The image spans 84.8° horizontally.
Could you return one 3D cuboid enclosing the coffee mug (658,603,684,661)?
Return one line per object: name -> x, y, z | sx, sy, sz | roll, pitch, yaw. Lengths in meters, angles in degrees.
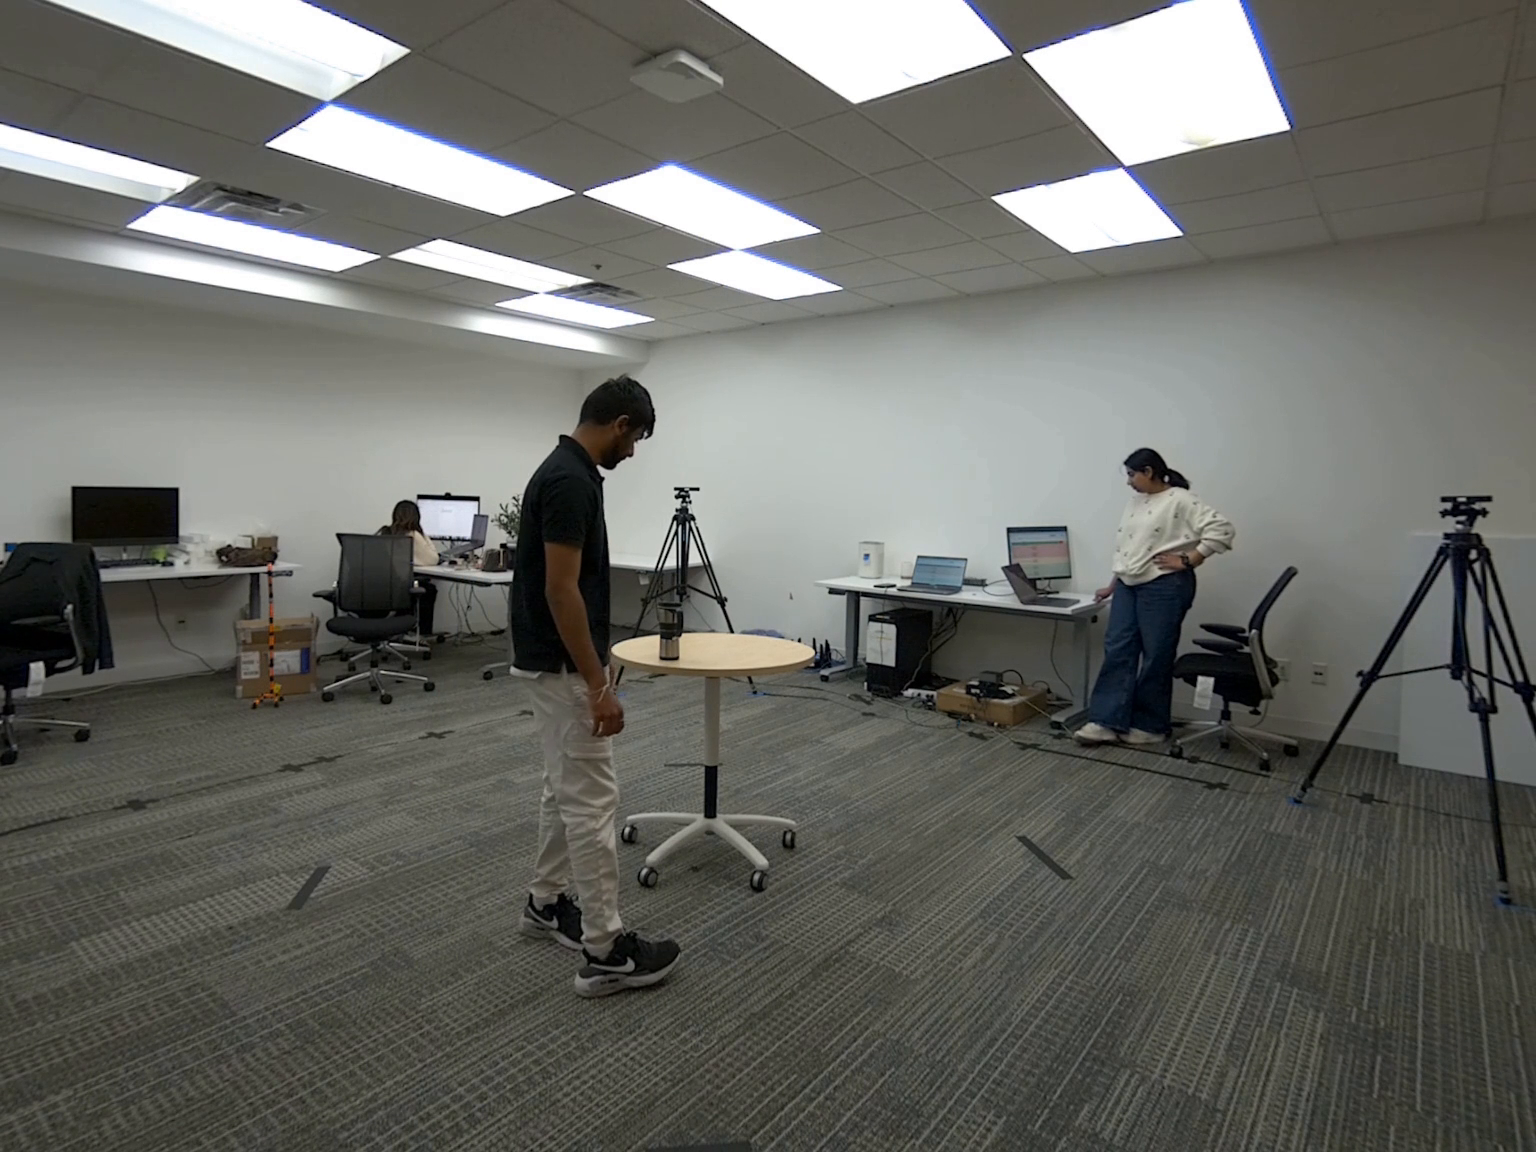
coffee mug -> -0.371, 0.192, 2.979 | 0.090, 0.203, 0.119 | 4, 2, 23
